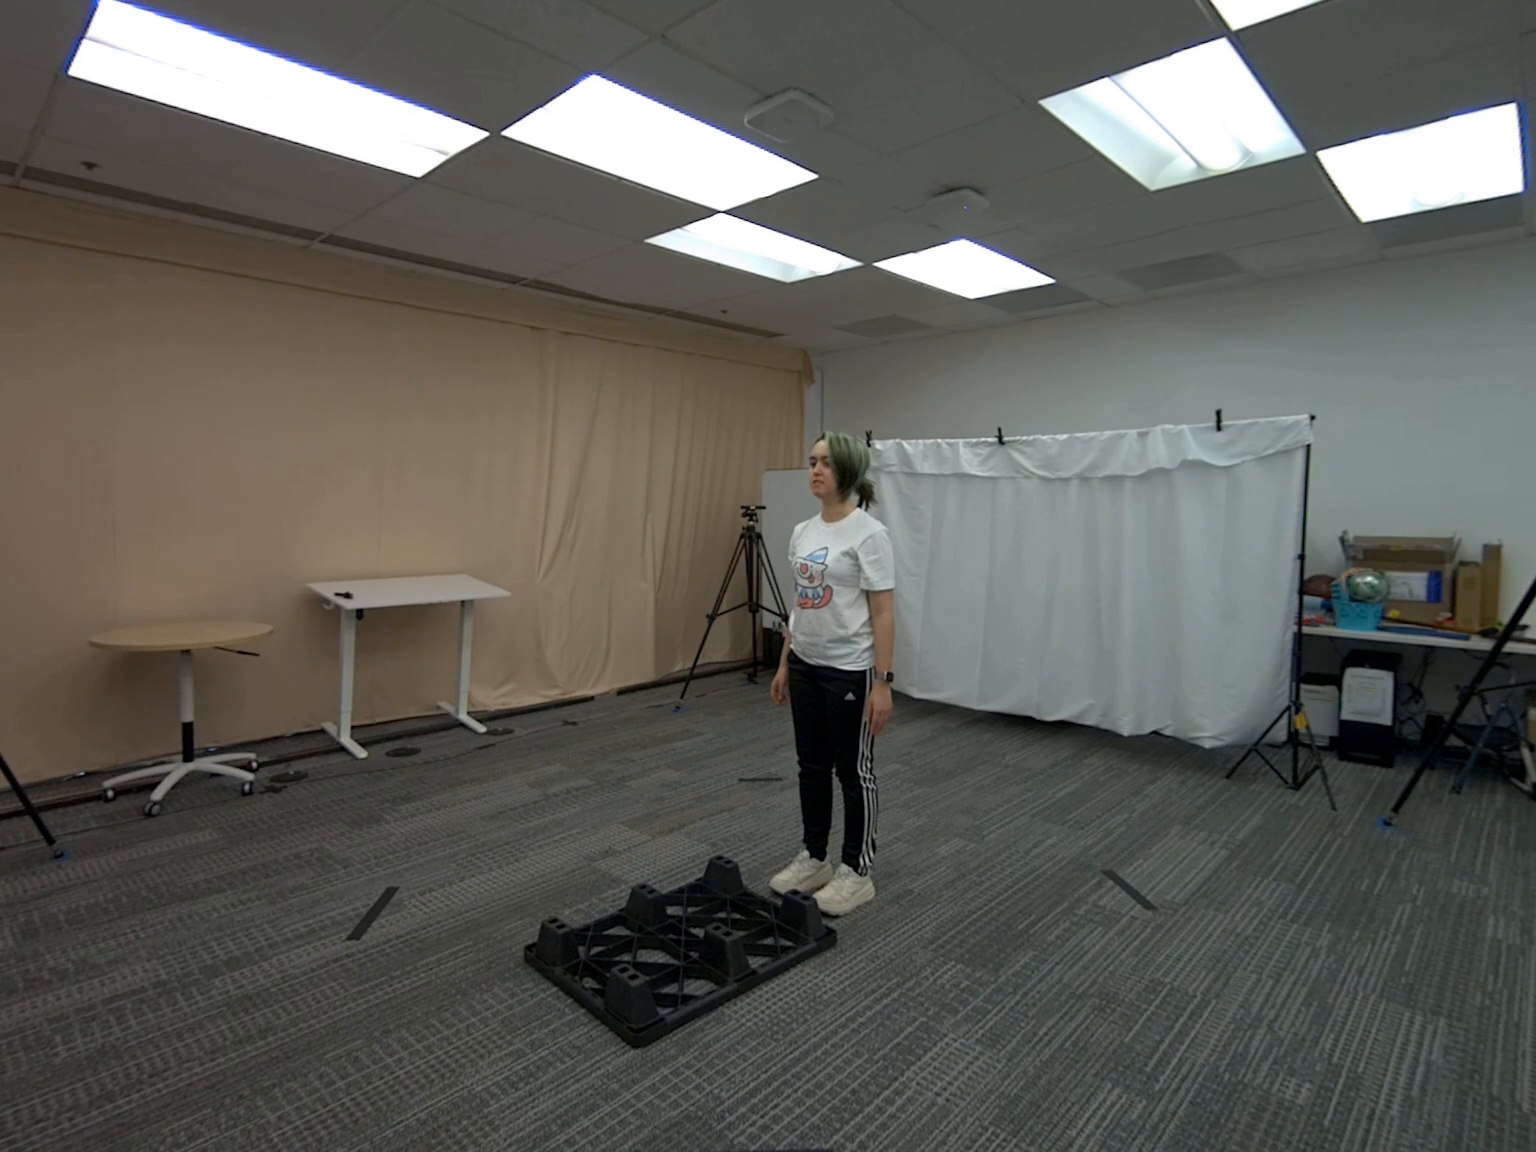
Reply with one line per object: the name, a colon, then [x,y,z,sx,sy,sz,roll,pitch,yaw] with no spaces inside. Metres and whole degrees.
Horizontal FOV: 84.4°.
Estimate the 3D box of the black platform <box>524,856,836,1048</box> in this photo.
black platform: [-0.264,1.109,2.638,0.781,0.143,0.625,-4,7,-44]
